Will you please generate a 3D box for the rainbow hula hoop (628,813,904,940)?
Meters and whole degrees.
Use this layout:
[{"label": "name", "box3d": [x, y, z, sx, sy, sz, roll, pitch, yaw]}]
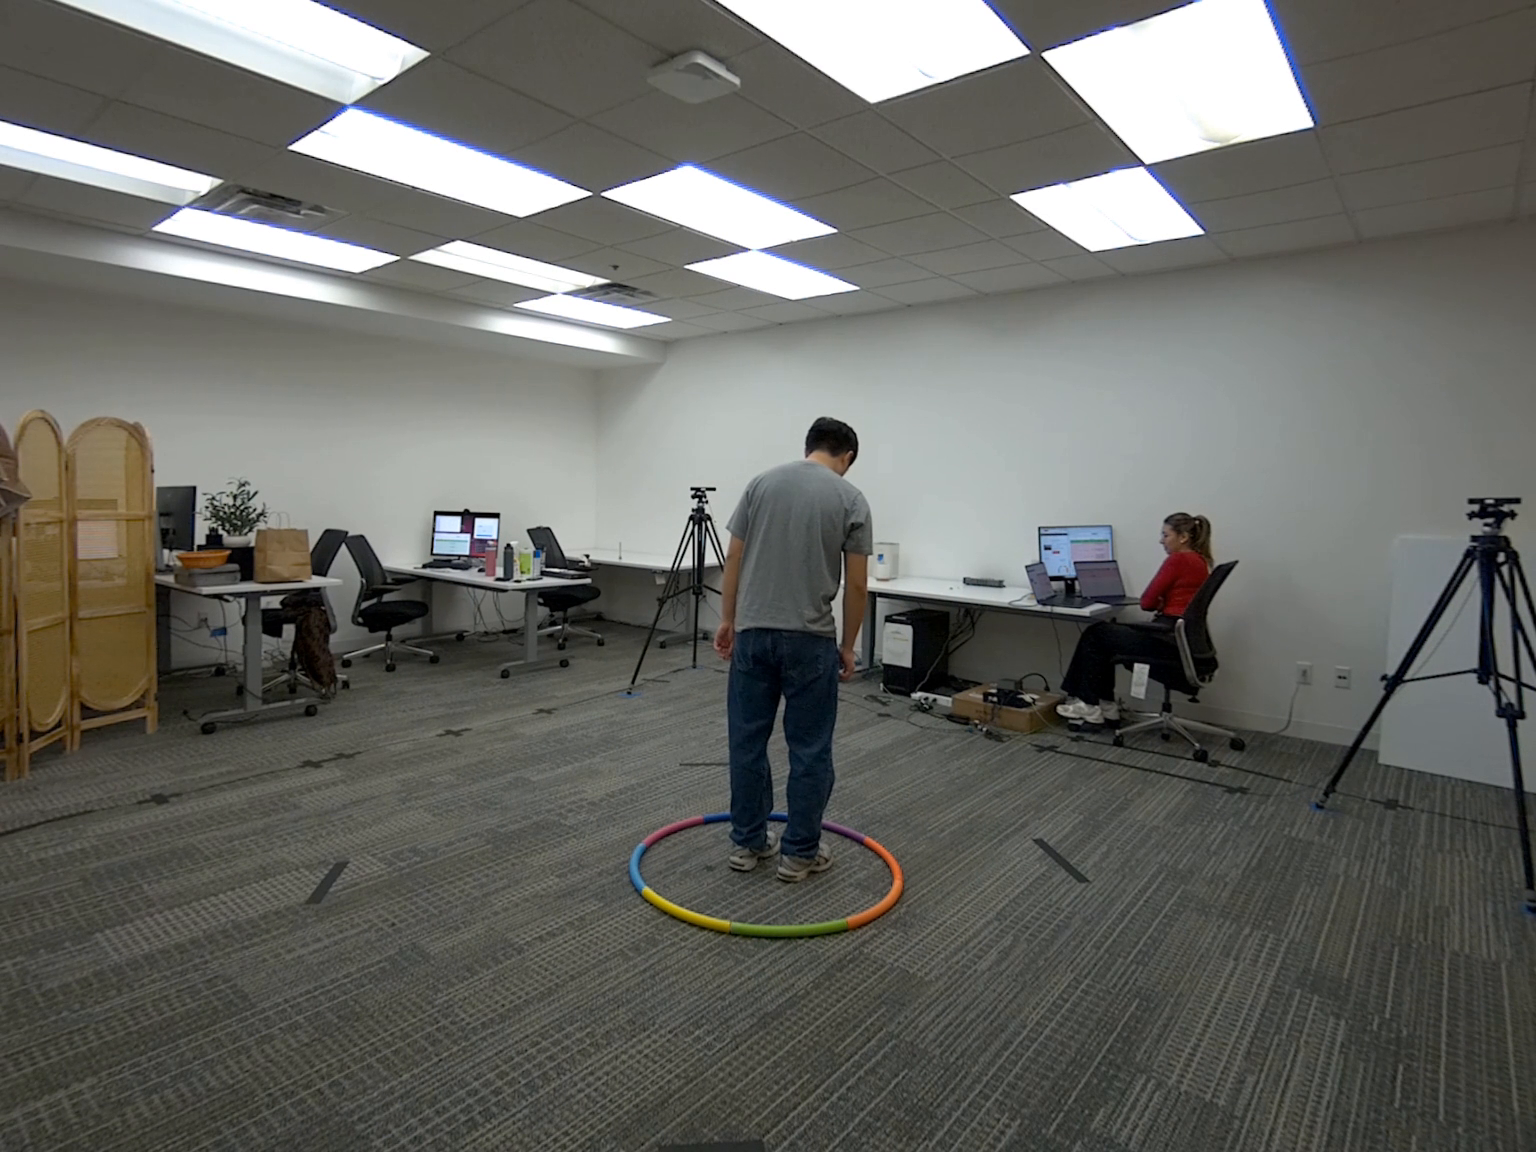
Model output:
[{"label": "rainbow hula hoop", "box3d": [-0.019, 1.040, 3.103, 0.978, 0.035, 0.983, 1, 5, -2]}]
